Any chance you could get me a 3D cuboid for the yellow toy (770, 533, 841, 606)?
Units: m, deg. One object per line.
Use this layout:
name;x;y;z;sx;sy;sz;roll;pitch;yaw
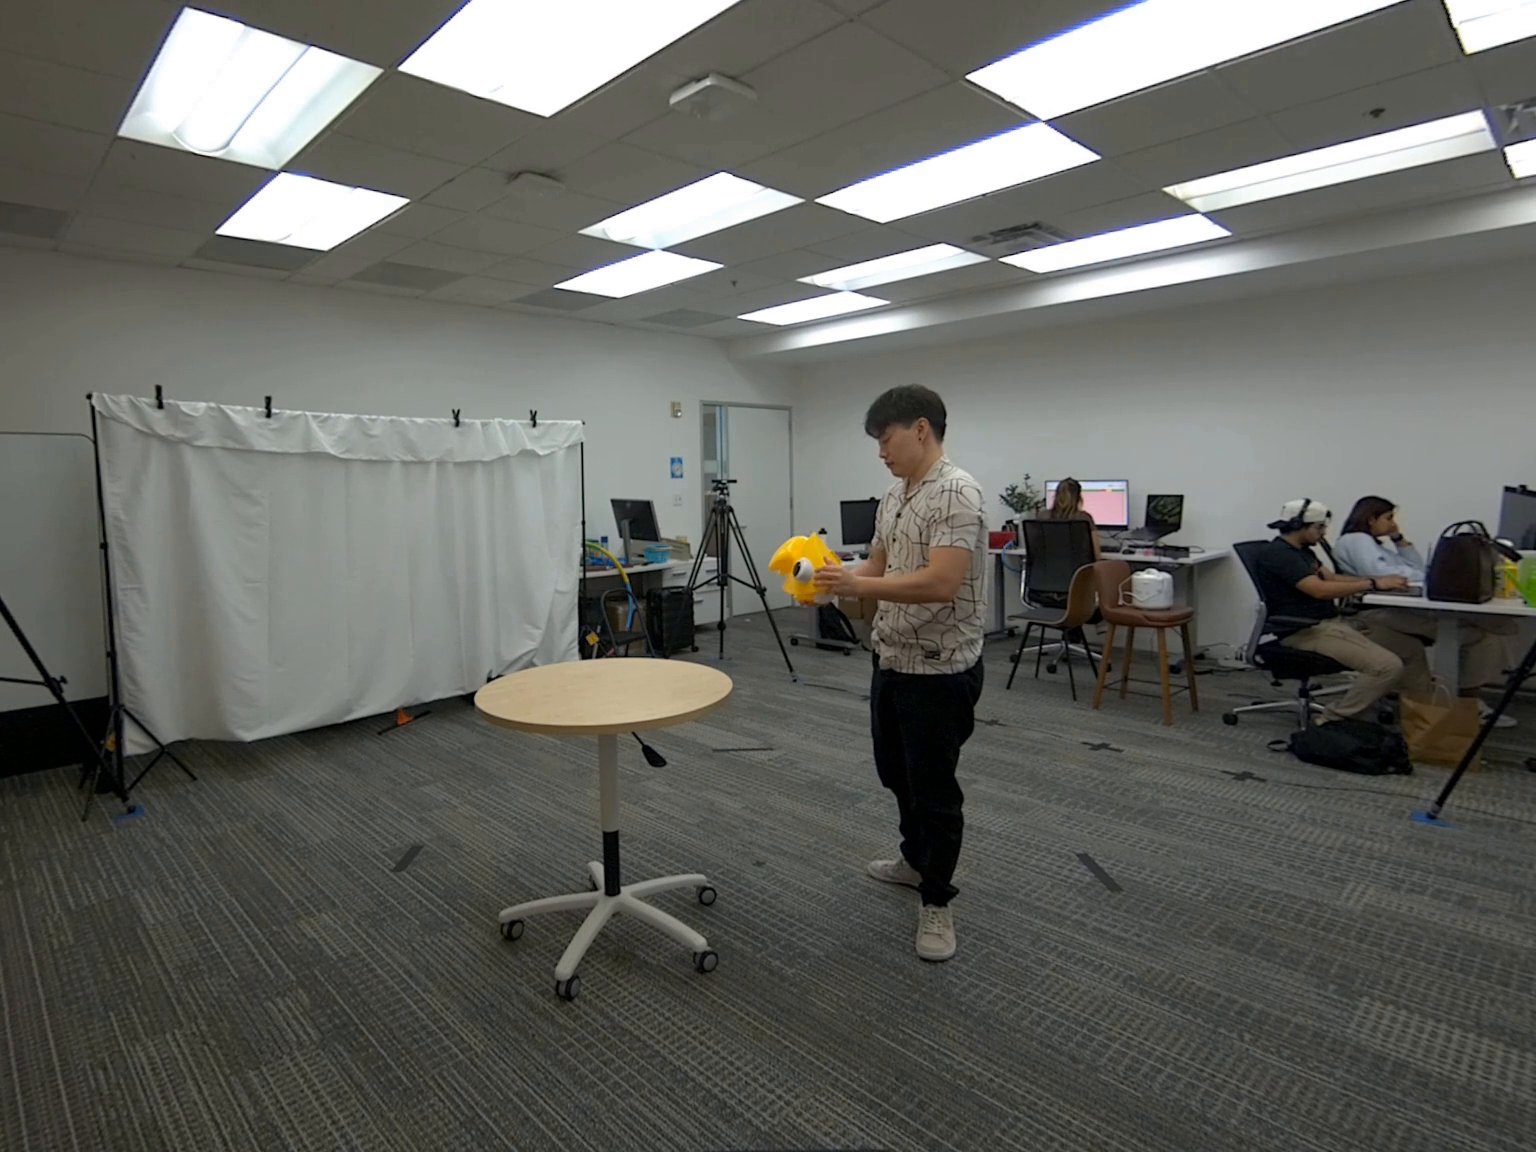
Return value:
yellow toy;0.133;0.012;2.488;0.193;0.200;0.236;-38;21;8
